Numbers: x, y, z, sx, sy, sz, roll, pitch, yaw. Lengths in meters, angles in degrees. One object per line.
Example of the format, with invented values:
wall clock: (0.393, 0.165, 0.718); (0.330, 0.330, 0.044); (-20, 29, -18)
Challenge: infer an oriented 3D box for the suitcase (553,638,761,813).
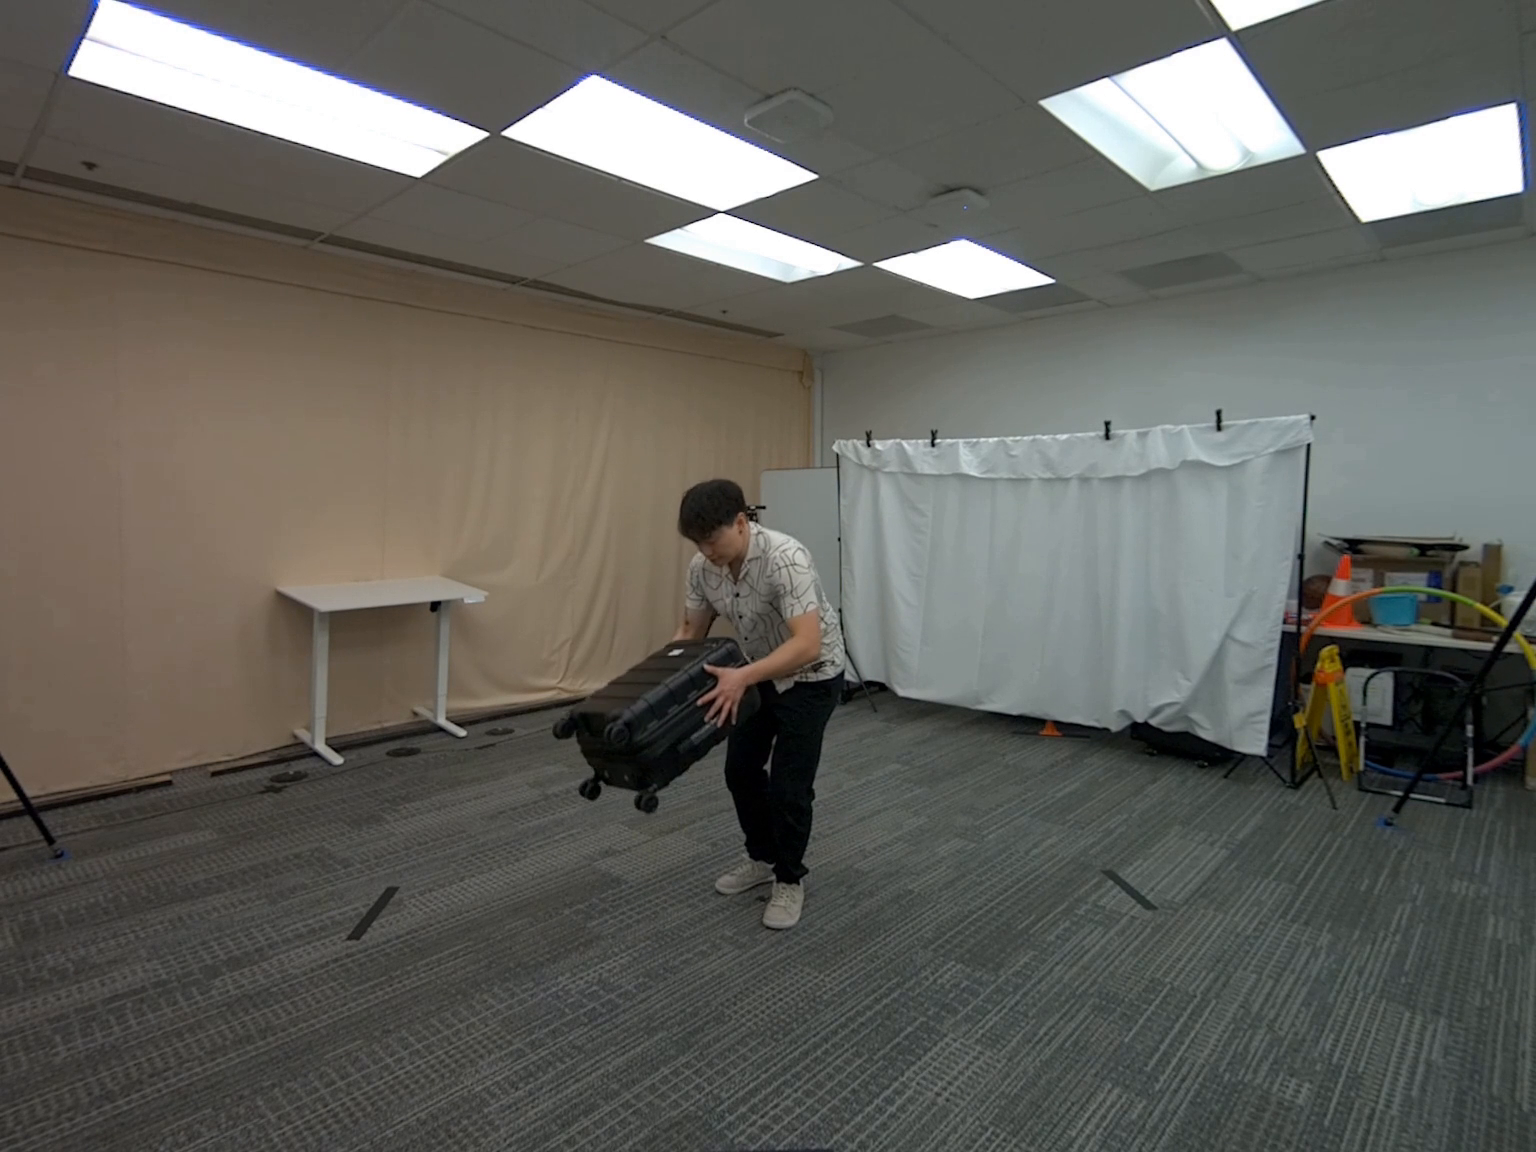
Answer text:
suitcase: (-0.313, 0.406, 2.511); (0.541, 0.245, 0.385); (-34, 15, -36)
